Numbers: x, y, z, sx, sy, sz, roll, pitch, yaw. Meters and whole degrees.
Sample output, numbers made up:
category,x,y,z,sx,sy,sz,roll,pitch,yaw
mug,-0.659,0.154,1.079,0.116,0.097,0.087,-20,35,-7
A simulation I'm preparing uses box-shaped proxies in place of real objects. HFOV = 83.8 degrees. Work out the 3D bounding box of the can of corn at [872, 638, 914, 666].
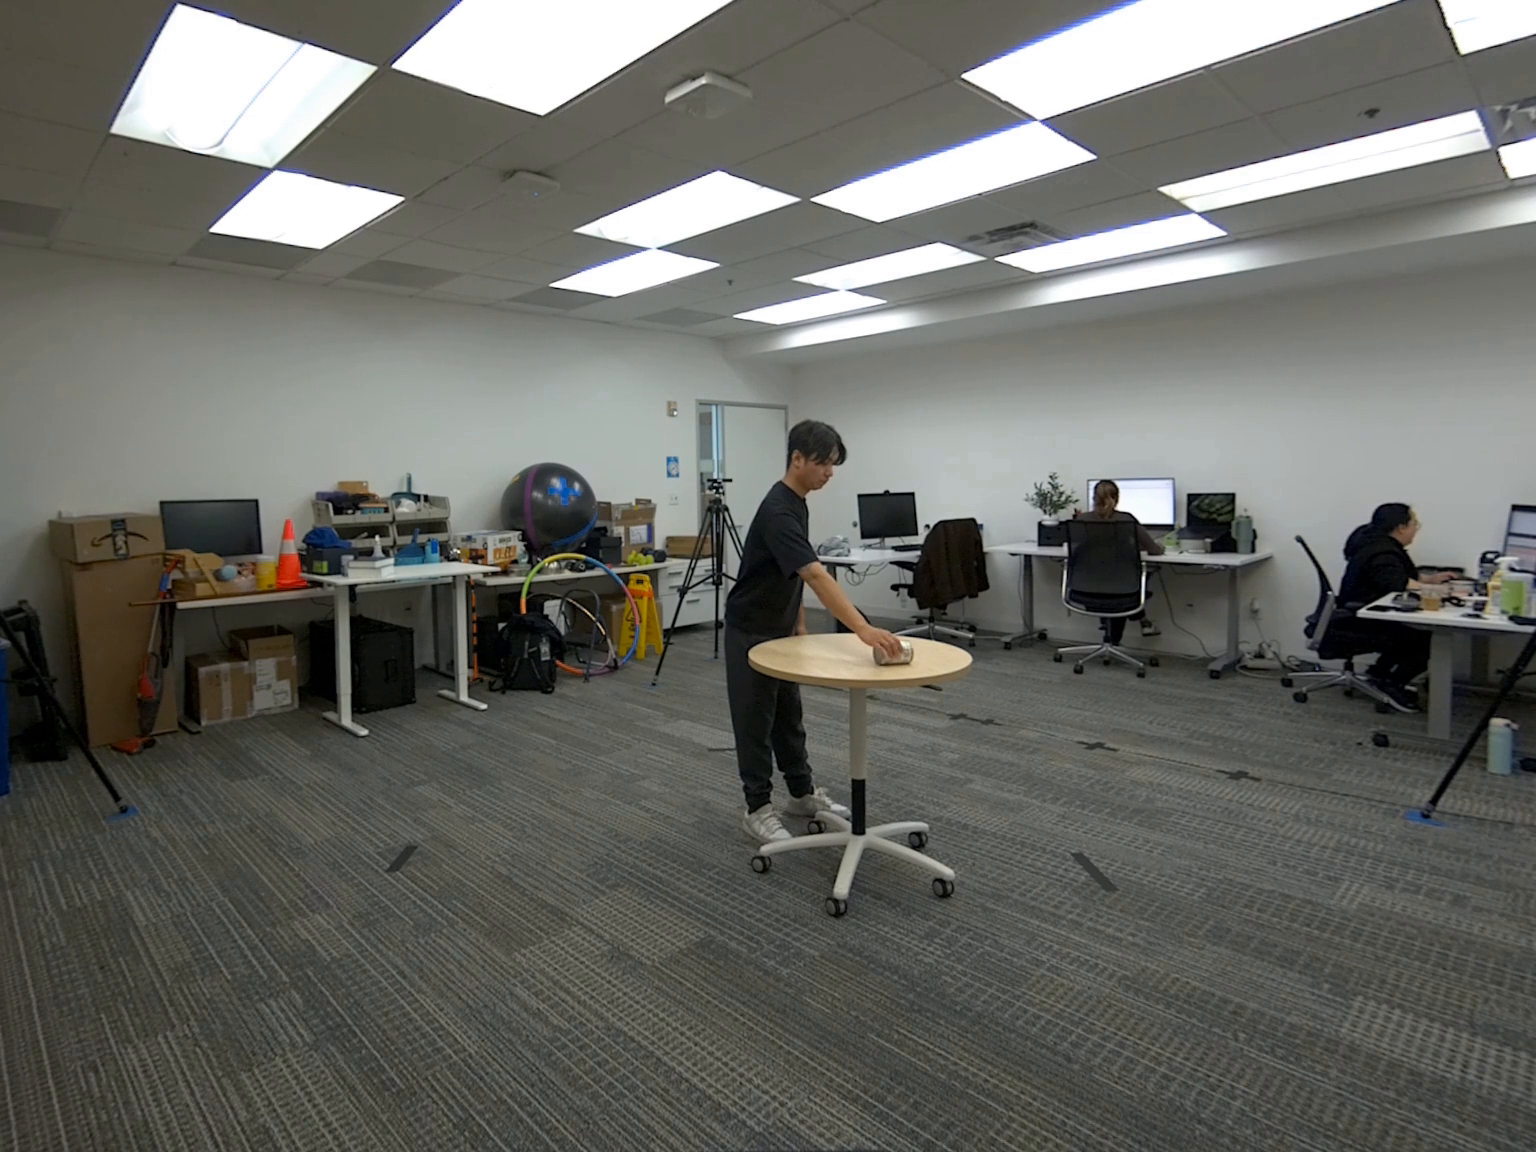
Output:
category,x,y,z,sx,sy,sz,roll,pitch,yaw
can of corn,0.411,0.250,2.807,0.111,0.074,0.074,-2,5,-1
